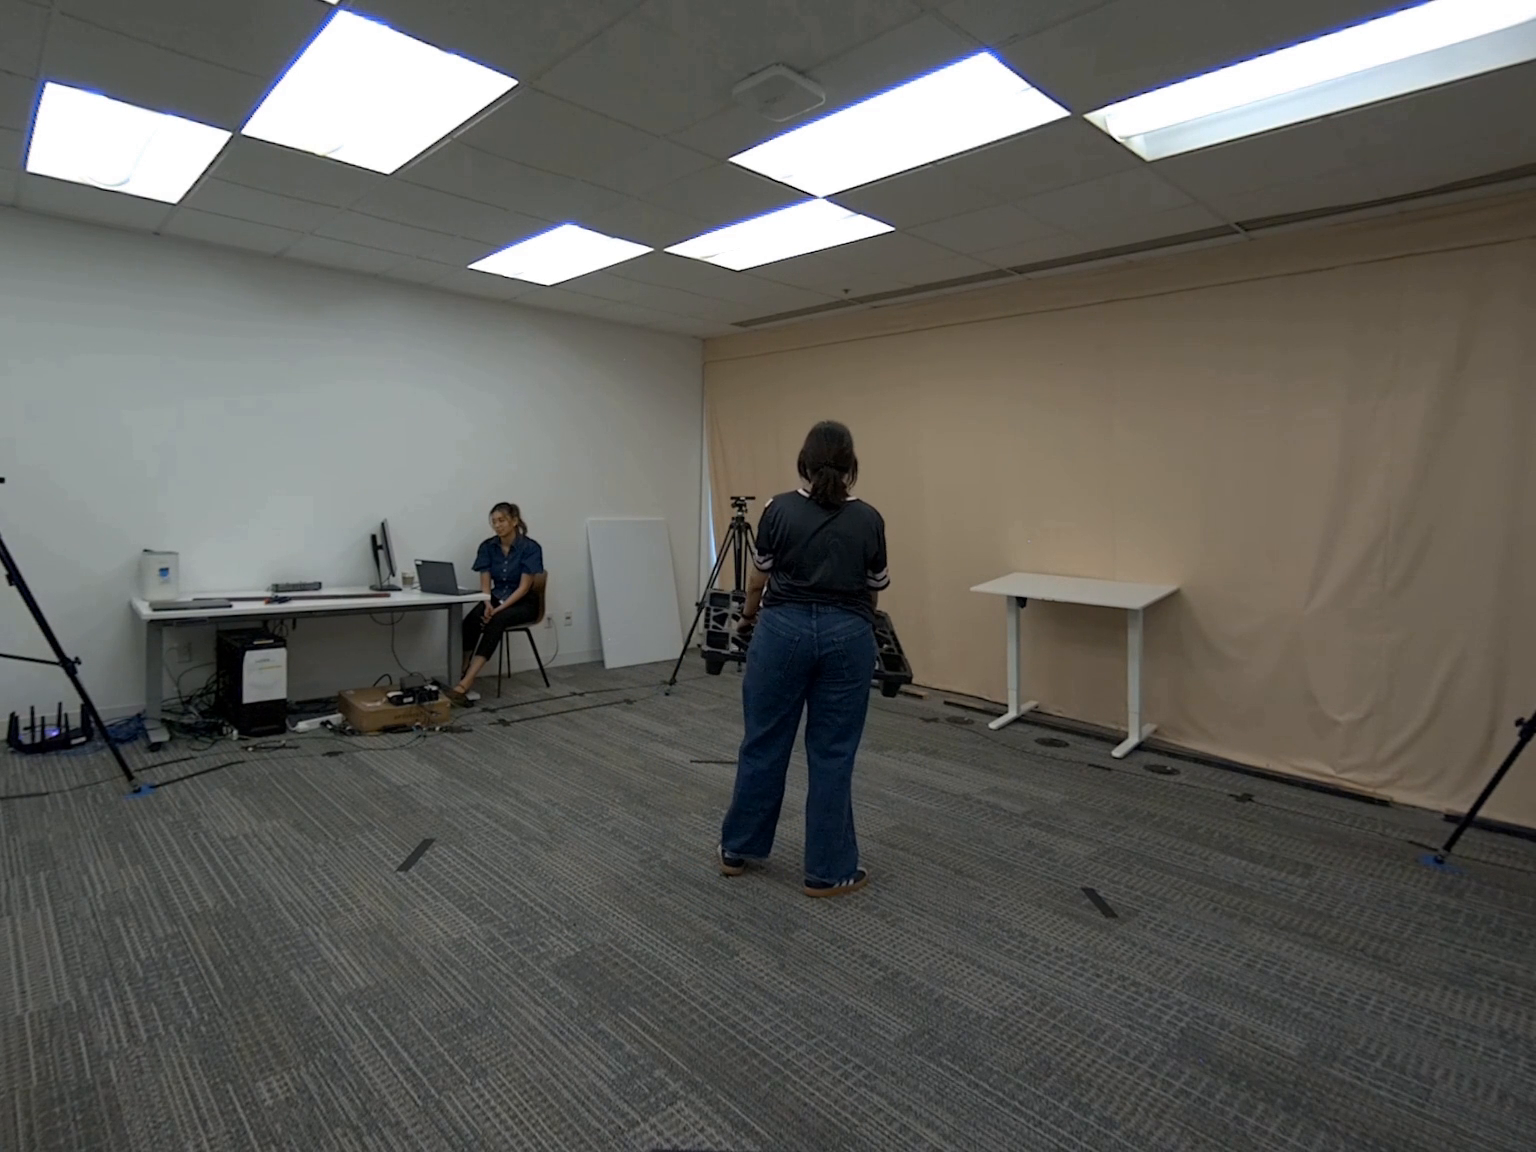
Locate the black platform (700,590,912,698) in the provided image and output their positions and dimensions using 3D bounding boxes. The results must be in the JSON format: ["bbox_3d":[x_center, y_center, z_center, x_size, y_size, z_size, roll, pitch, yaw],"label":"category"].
[{"bbox_3d":[0.125,0.275,3.415,0.804,0.142,0.614,8,20,-3],"label":"black platform"}]
